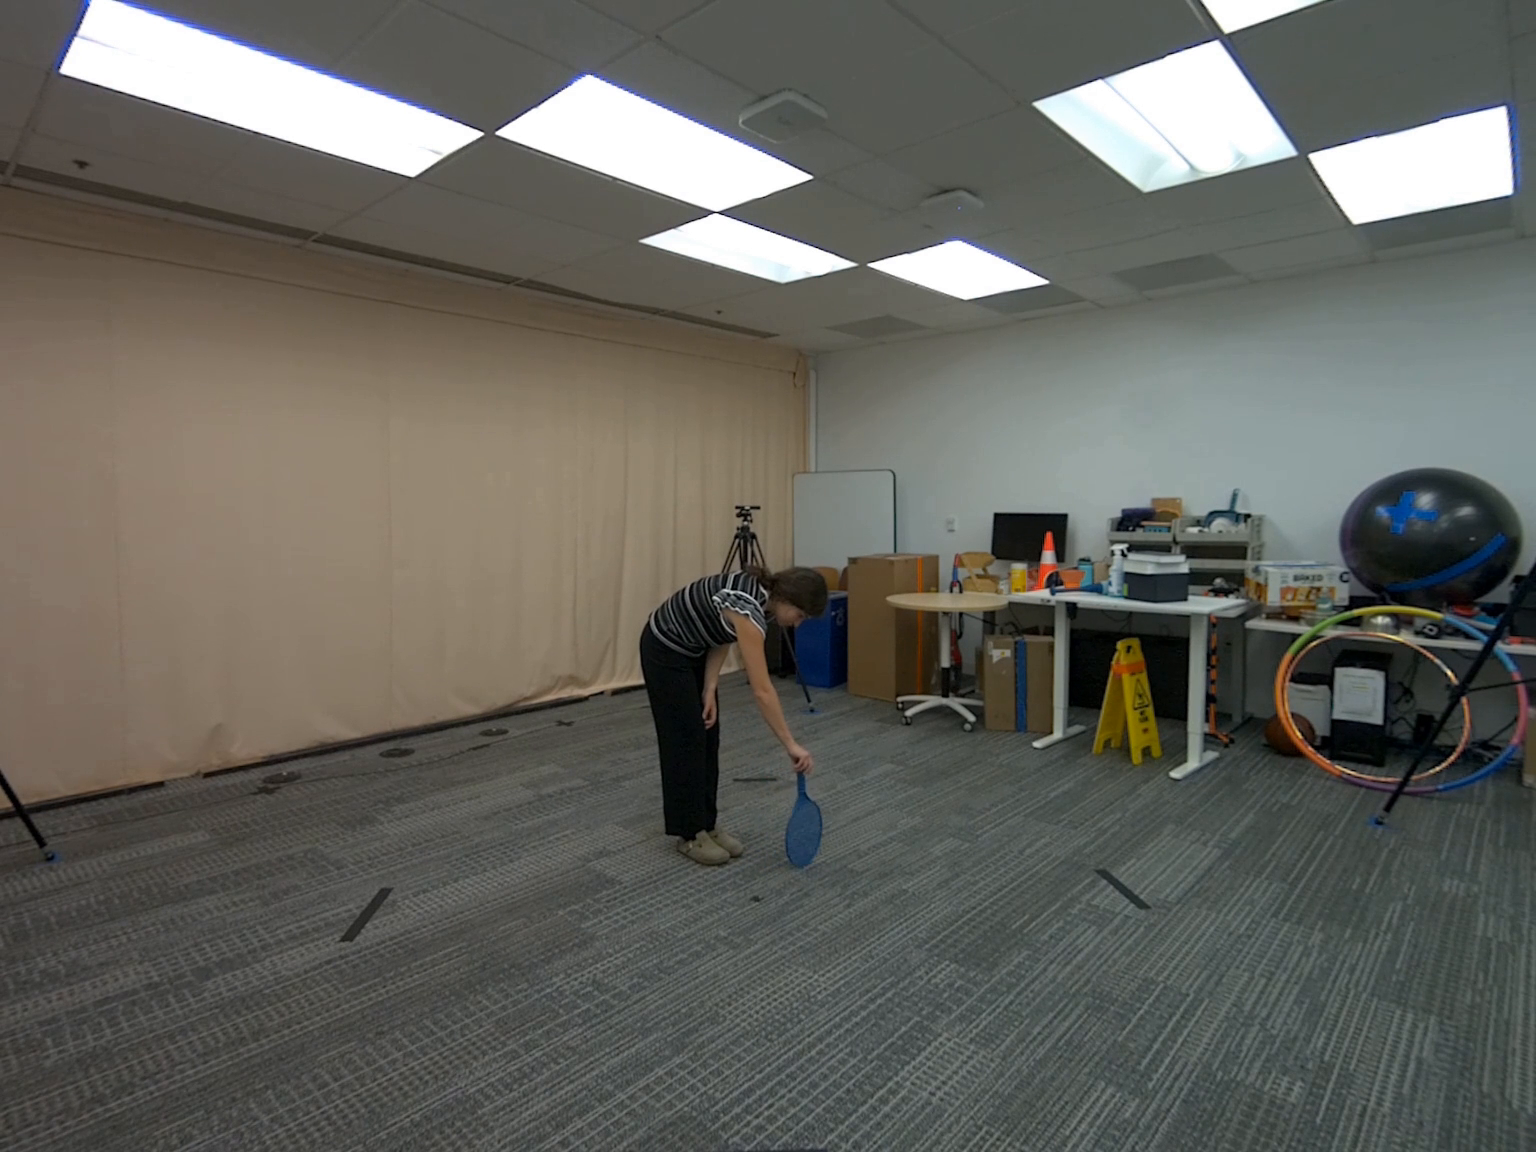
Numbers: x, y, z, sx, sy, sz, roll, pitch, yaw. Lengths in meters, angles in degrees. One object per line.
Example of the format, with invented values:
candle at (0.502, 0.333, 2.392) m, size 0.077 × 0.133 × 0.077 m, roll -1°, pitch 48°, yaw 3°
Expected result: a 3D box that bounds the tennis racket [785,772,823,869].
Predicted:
tennis racket at (0.139, 0.906, 3.215) m, size 0.033 × 0.429 × 0.208 m, roll 9°, pitch 16°, yaw 43°
